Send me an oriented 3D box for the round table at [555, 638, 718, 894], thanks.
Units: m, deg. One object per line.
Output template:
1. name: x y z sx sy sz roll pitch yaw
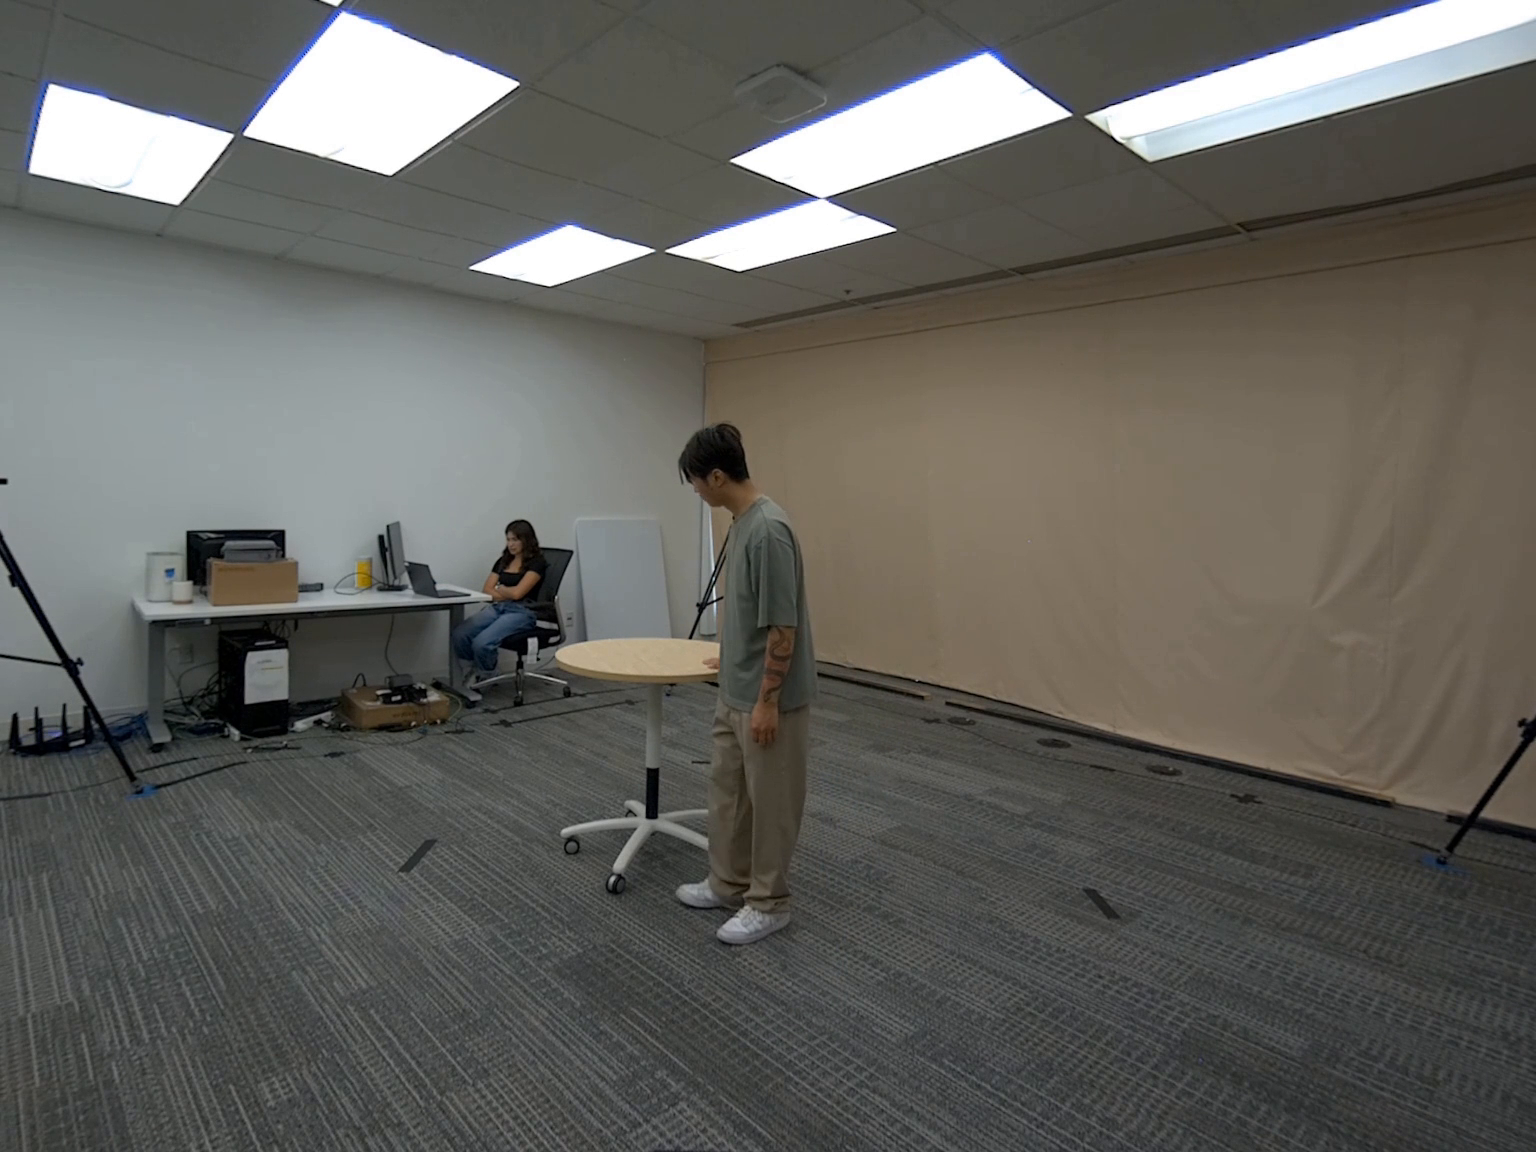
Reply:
1. round table: -0.461 0.698 3.277 0.763 0.792 0.766 2 4 -1
